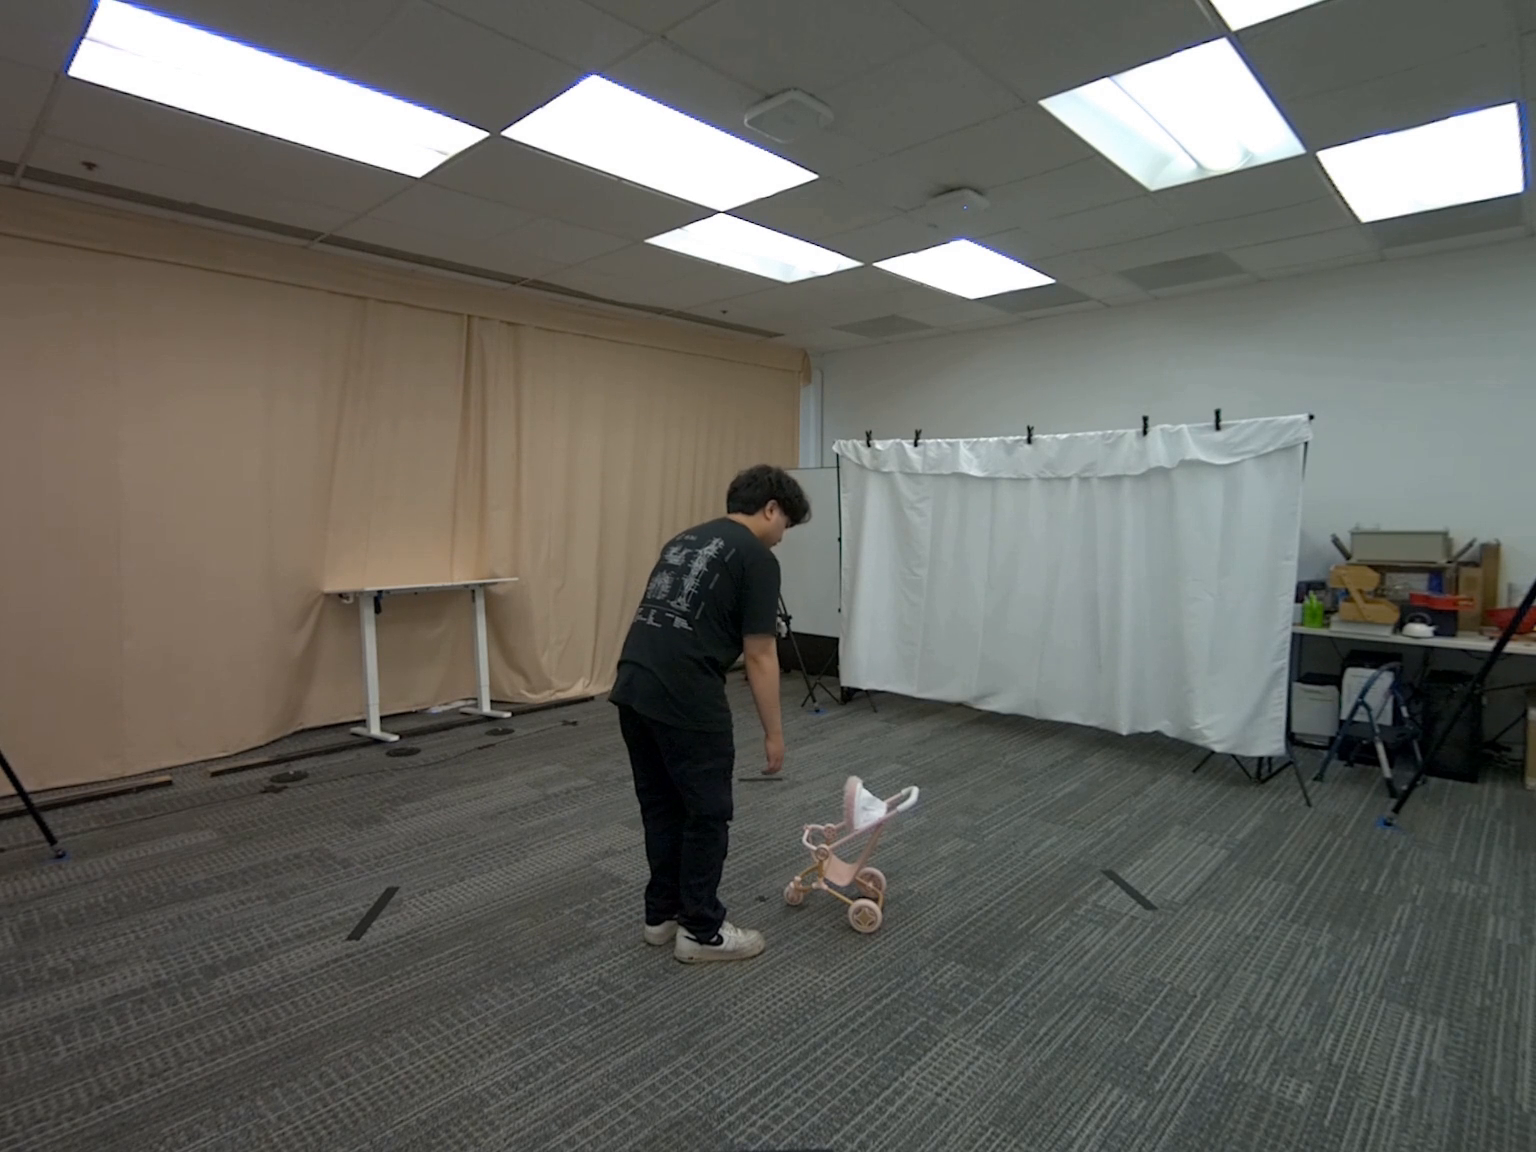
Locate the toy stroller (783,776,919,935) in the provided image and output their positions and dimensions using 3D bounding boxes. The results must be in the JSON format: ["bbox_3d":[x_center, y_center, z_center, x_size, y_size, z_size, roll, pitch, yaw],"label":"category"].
[{"bbox_3d":[0.280,0.928,2.879,0.348,0.533,0.276,17,8,17],"label":"toy stroller"}]
